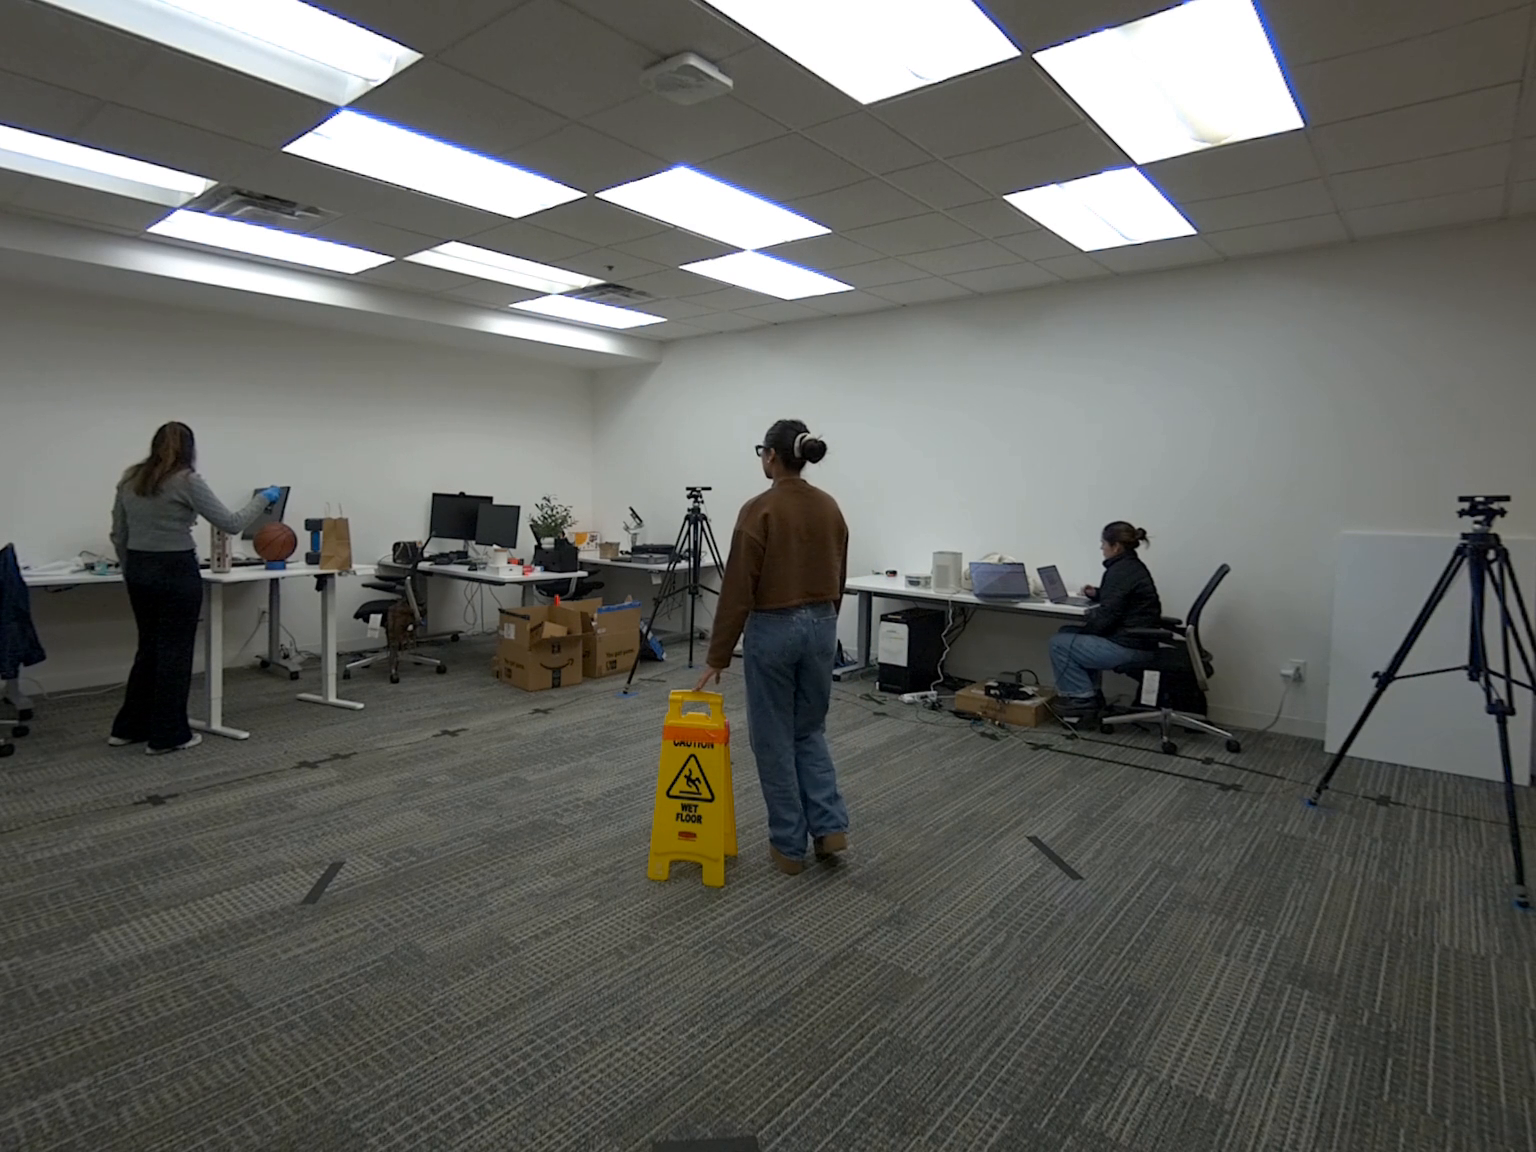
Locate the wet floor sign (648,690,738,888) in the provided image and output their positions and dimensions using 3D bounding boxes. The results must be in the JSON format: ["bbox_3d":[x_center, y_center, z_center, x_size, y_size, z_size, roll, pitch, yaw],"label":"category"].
[{"bbox_3d":[-0.277,0.742,3.104,0.286,0.644,0.287,1,4,10],"label":"wet floor sign"}]
